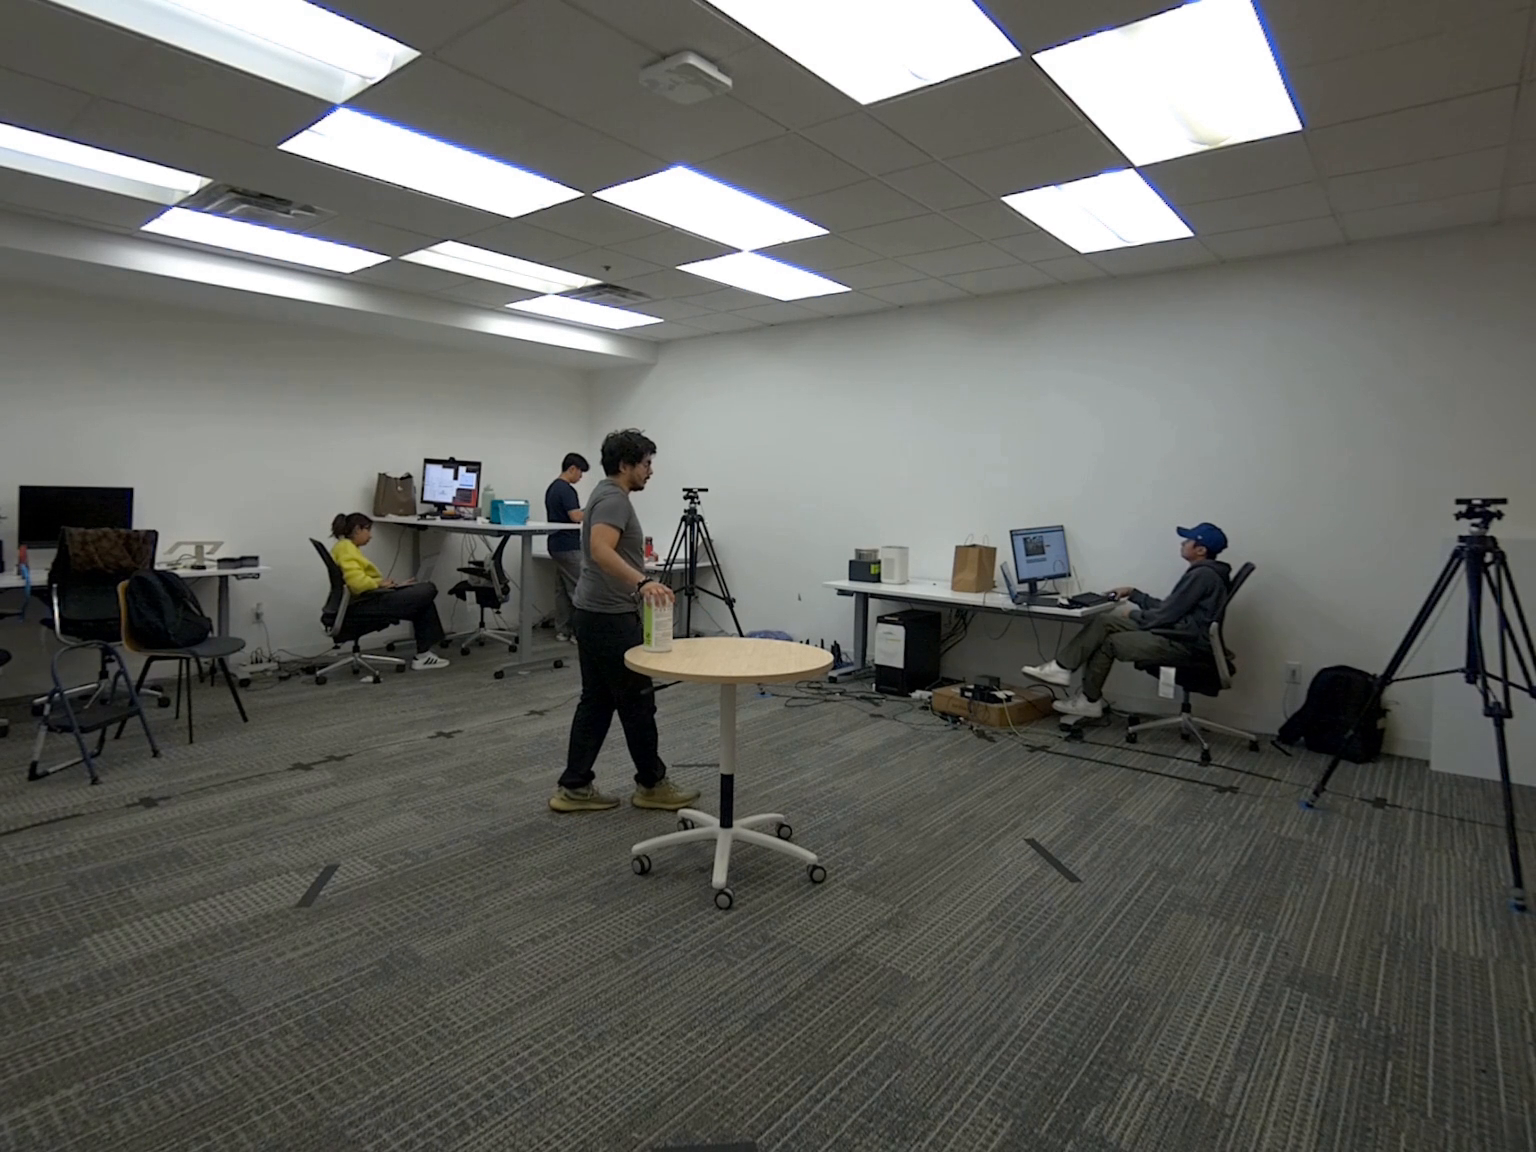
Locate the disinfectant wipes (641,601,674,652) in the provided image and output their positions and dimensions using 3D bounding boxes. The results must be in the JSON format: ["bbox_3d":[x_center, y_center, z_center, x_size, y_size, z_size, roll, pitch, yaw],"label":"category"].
[{"bbox_3d":[-0.424,0.171,3.199,0.118,0.217,0.118,-2,2,-2],"label":"disinfectant wipes"}]
